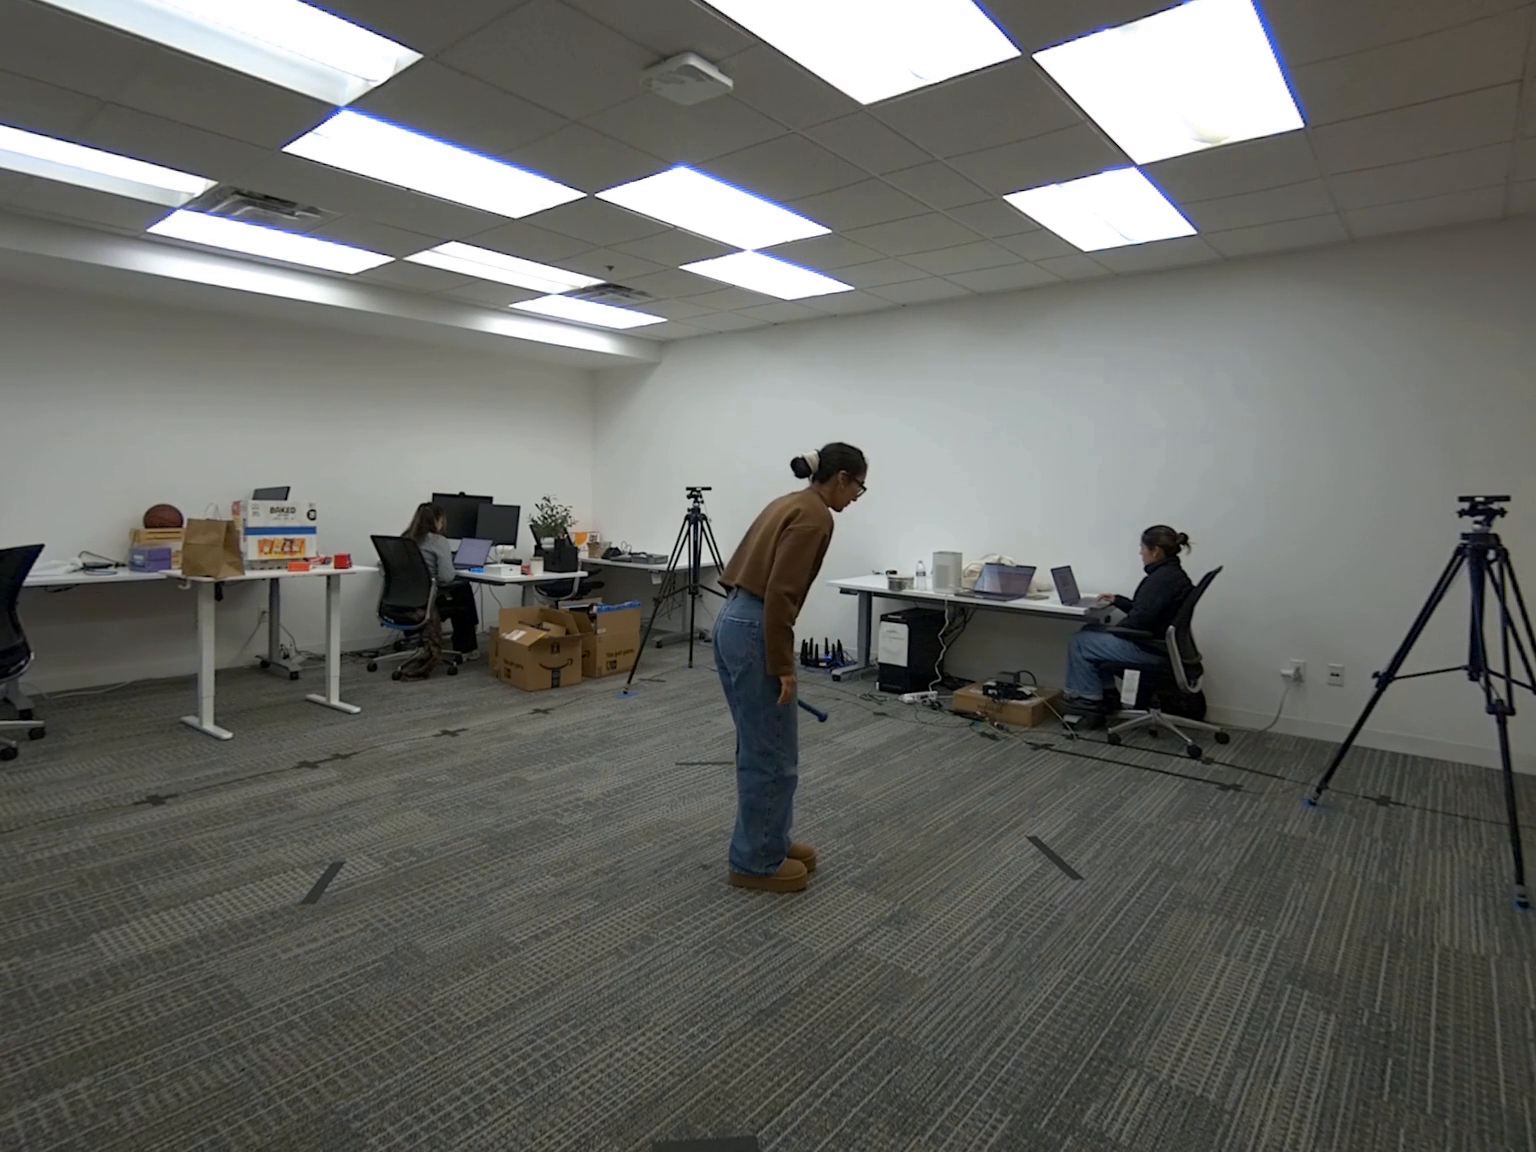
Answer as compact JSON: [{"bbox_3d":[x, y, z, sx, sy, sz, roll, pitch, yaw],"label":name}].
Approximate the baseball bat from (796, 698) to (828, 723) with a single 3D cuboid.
[{"bbox_3d":[0.018,0.453,3.341,0.526,0.089,0.091,33,-12,-25],"label":"baseball bat"}]
